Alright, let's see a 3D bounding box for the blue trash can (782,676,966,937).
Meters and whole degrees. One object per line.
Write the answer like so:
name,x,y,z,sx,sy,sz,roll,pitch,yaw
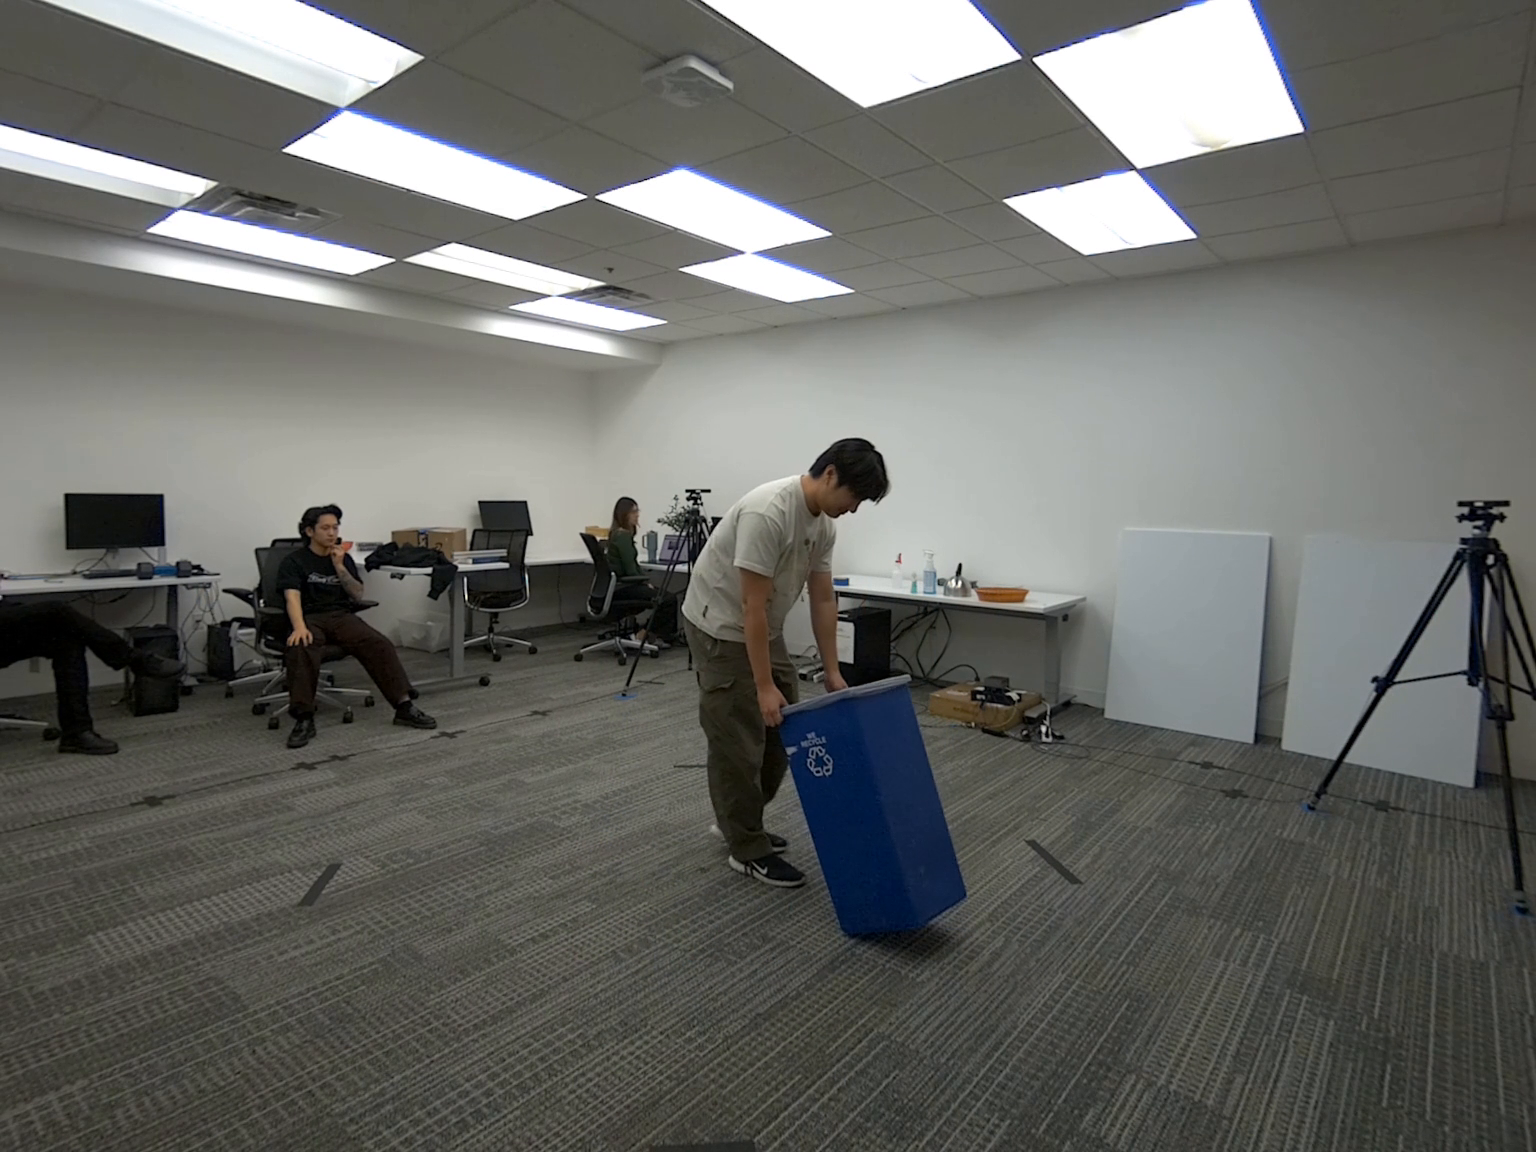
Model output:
blue trash can,0.336,0.728,2.767,0.366,0.726,0.379,-2,-19,-46
